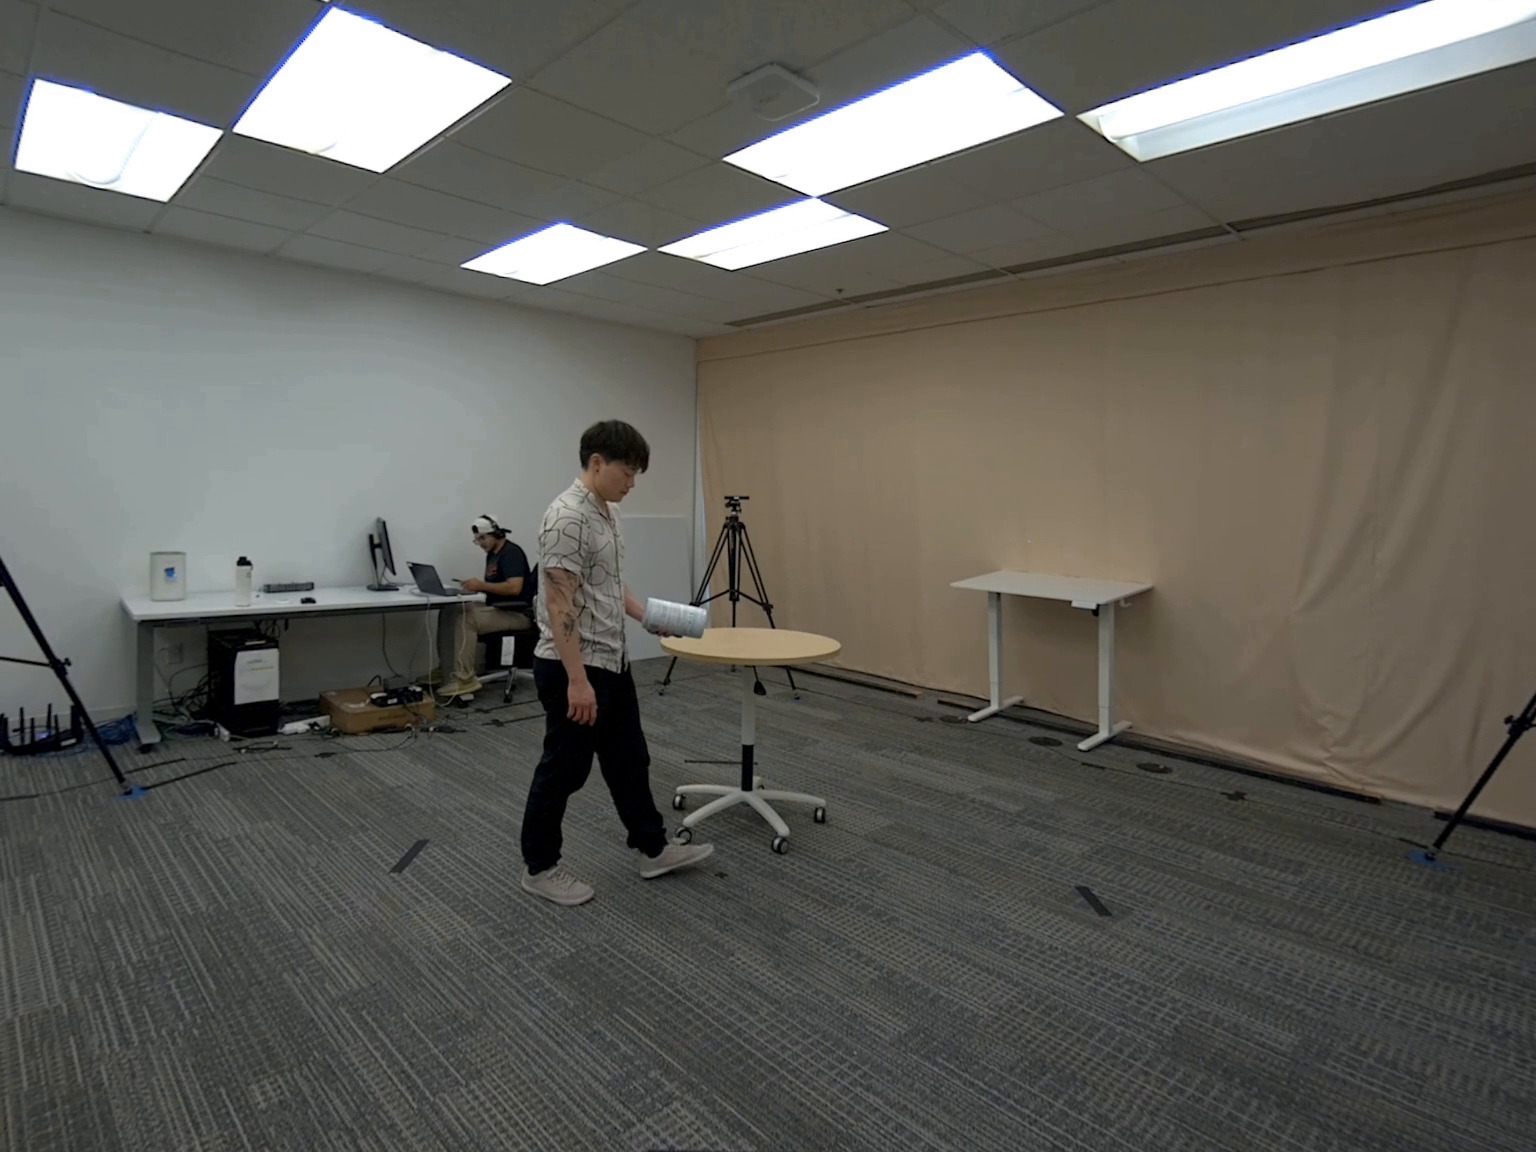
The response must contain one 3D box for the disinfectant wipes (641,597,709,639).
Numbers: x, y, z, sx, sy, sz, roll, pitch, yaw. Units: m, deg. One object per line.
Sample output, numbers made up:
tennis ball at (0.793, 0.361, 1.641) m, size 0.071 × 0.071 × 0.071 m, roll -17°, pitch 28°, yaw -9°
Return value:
disinfectant wipes at (-0.327, 0.145, 2.946) m, size 0.216 × 0.117 × 0.119 m, roll 11°, pitch 3°, yaw -7°
